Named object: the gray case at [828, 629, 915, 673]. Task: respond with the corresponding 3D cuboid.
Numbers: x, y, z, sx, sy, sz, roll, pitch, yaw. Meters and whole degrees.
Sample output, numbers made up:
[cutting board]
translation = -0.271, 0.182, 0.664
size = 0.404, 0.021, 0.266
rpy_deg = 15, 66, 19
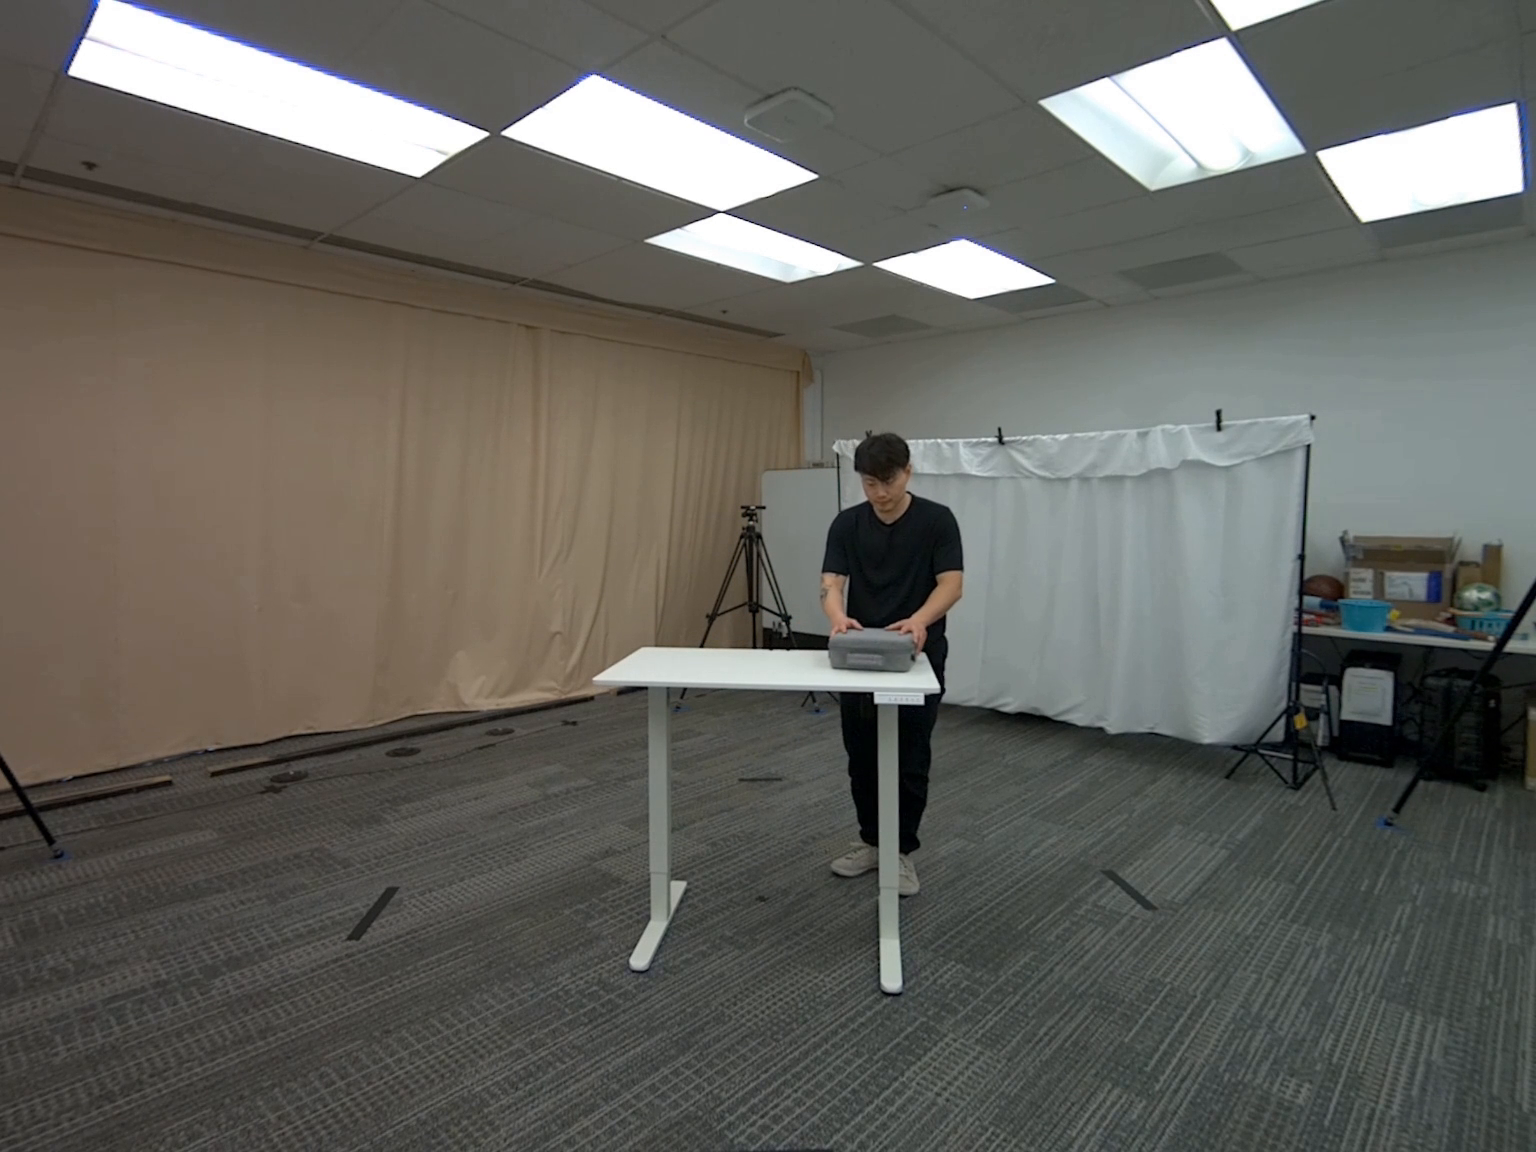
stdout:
[gray case]
translation = 0.332, 0.234, 2.677
size = 0.263, 0.104, 0.255
rpy_deg = 4, 5, 21
